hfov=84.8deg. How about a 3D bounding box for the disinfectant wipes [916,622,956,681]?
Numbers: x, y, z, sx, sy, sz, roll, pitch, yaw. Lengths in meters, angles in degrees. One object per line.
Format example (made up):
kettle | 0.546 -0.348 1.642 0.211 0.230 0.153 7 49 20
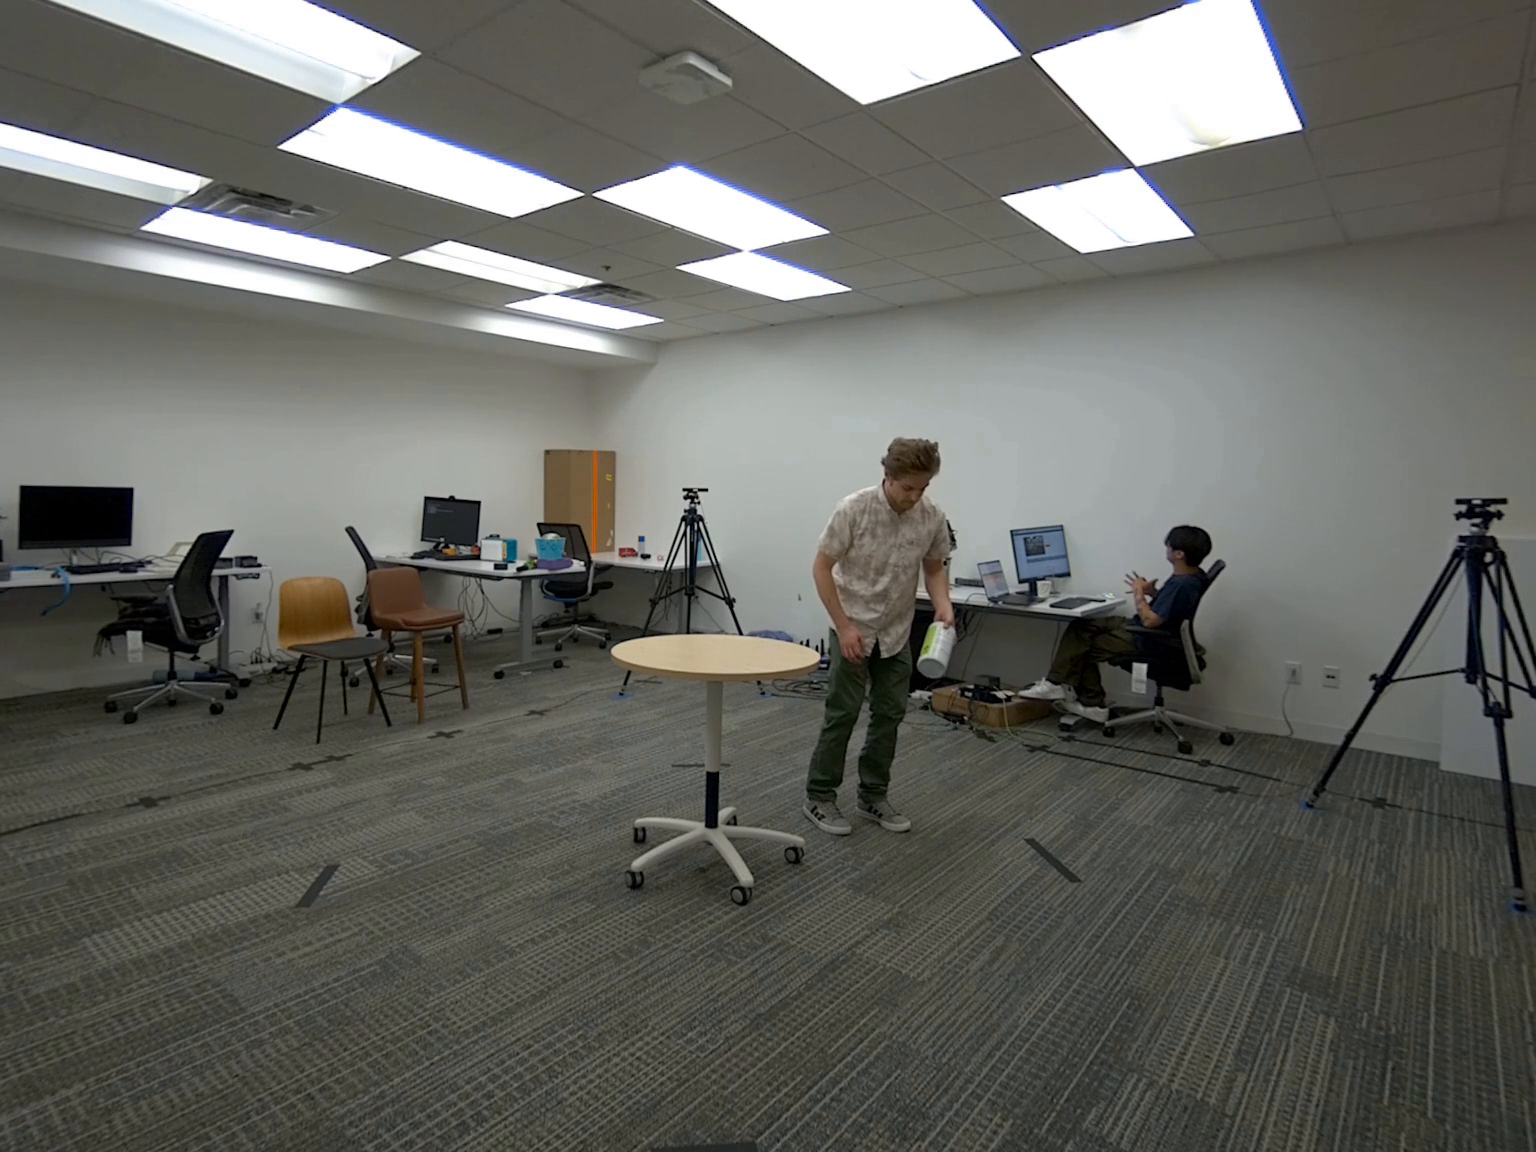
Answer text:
disinfectant wipes | 0.655 0.284 3.301 0.121 0.114 0.219 2 41 24
